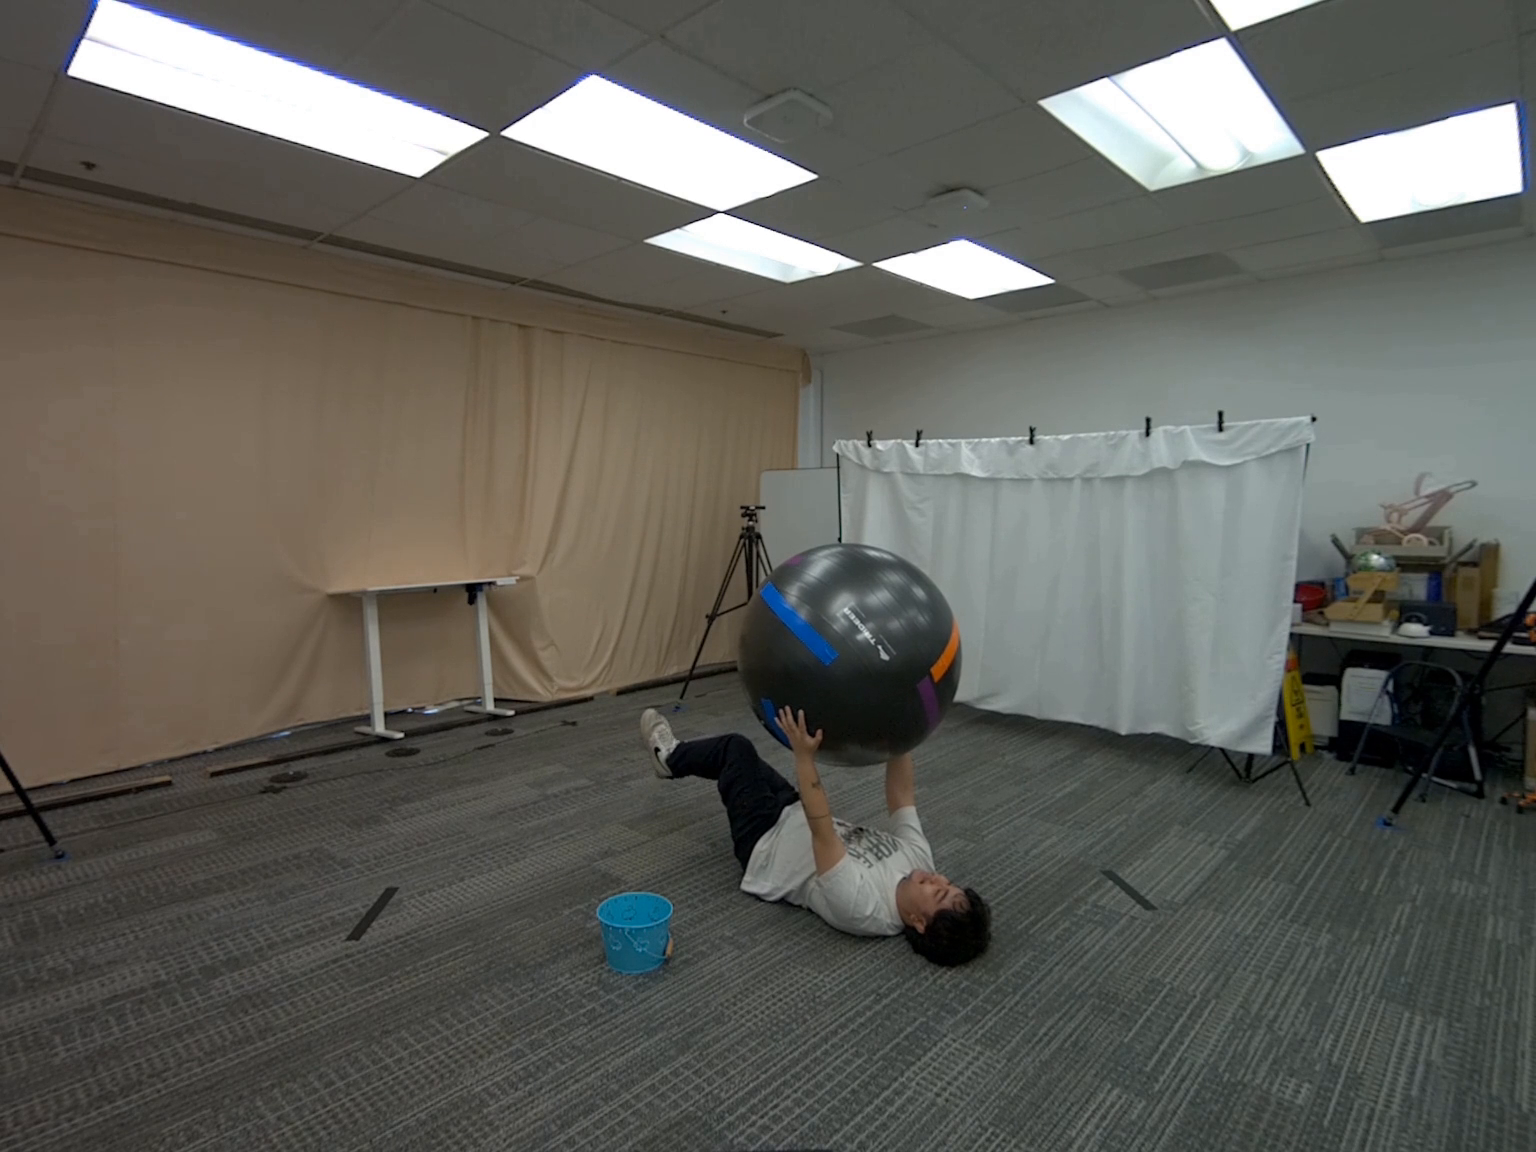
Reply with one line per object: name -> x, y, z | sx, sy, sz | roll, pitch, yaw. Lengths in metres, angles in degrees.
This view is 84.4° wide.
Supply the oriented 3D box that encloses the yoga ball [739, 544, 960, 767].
yoga ball -> 0.276, 0.272, 2.890 | 0.757, 0.756, 0.761 | 0, 4, -2
